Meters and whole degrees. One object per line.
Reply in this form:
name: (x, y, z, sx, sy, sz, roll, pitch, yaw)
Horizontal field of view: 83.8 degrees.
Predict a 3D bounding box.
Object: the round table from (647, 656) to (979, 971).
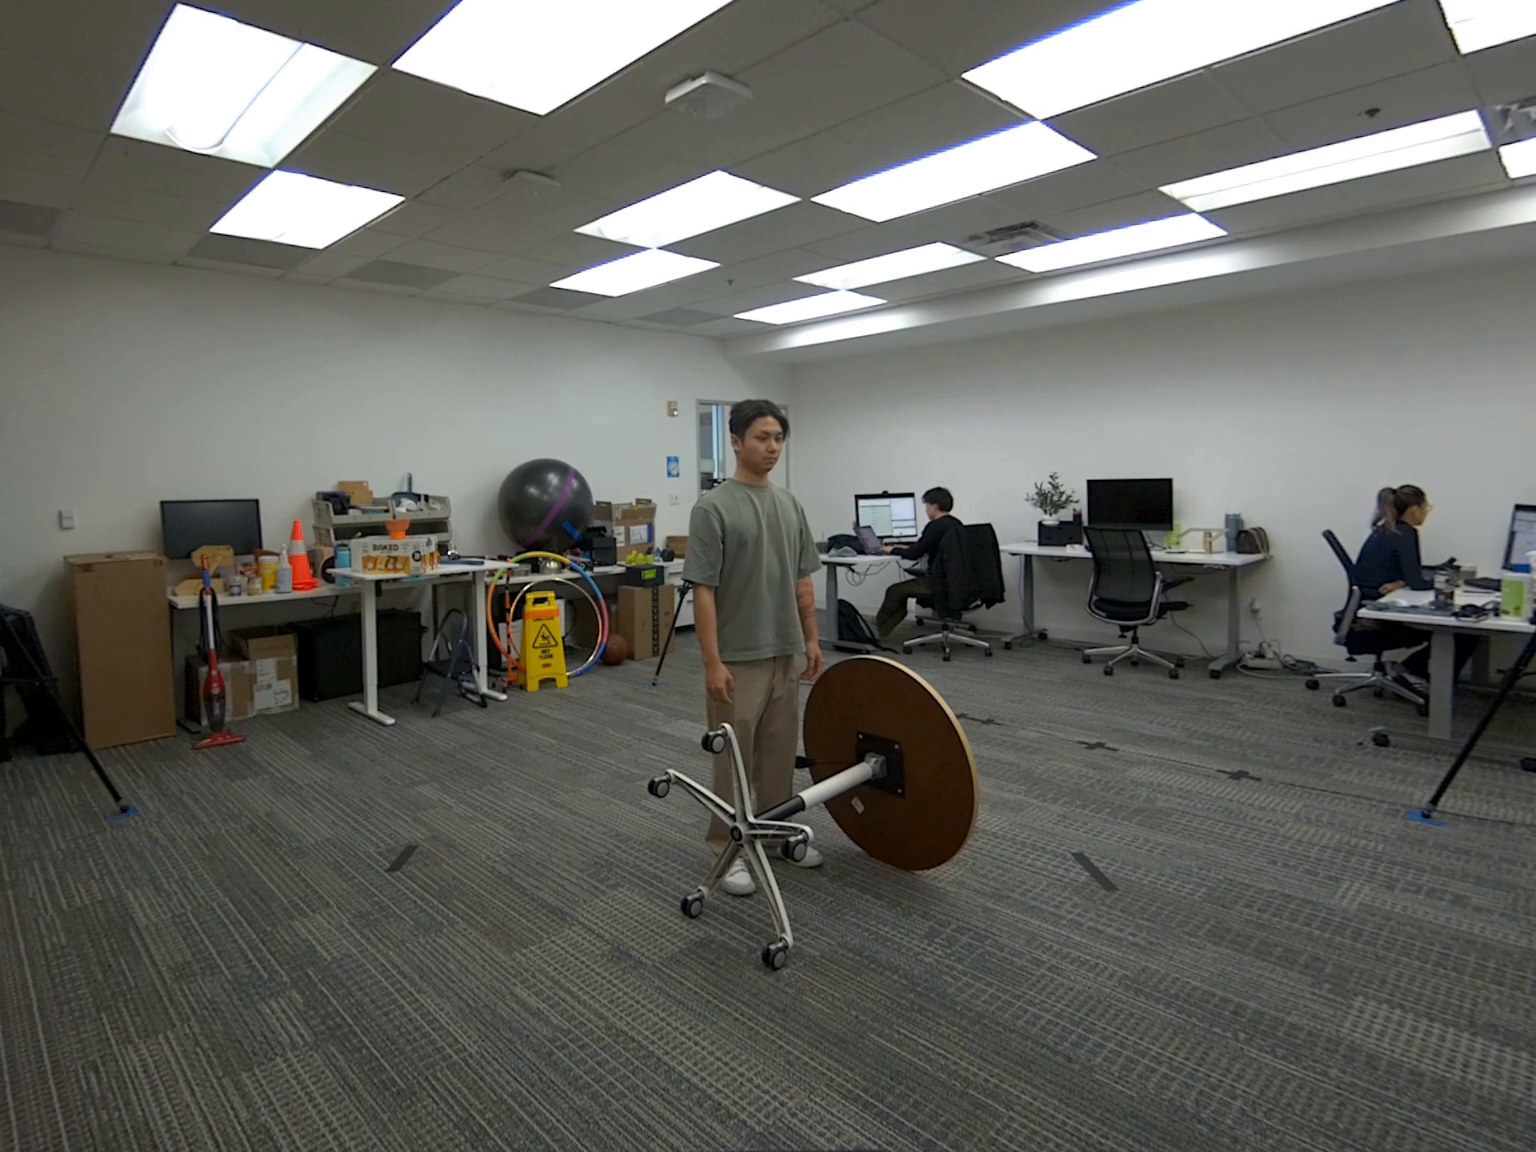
round table: (0.138, 0.736, 2.789, 0.769, 0.779, 0.809, -13, 12, -41)
